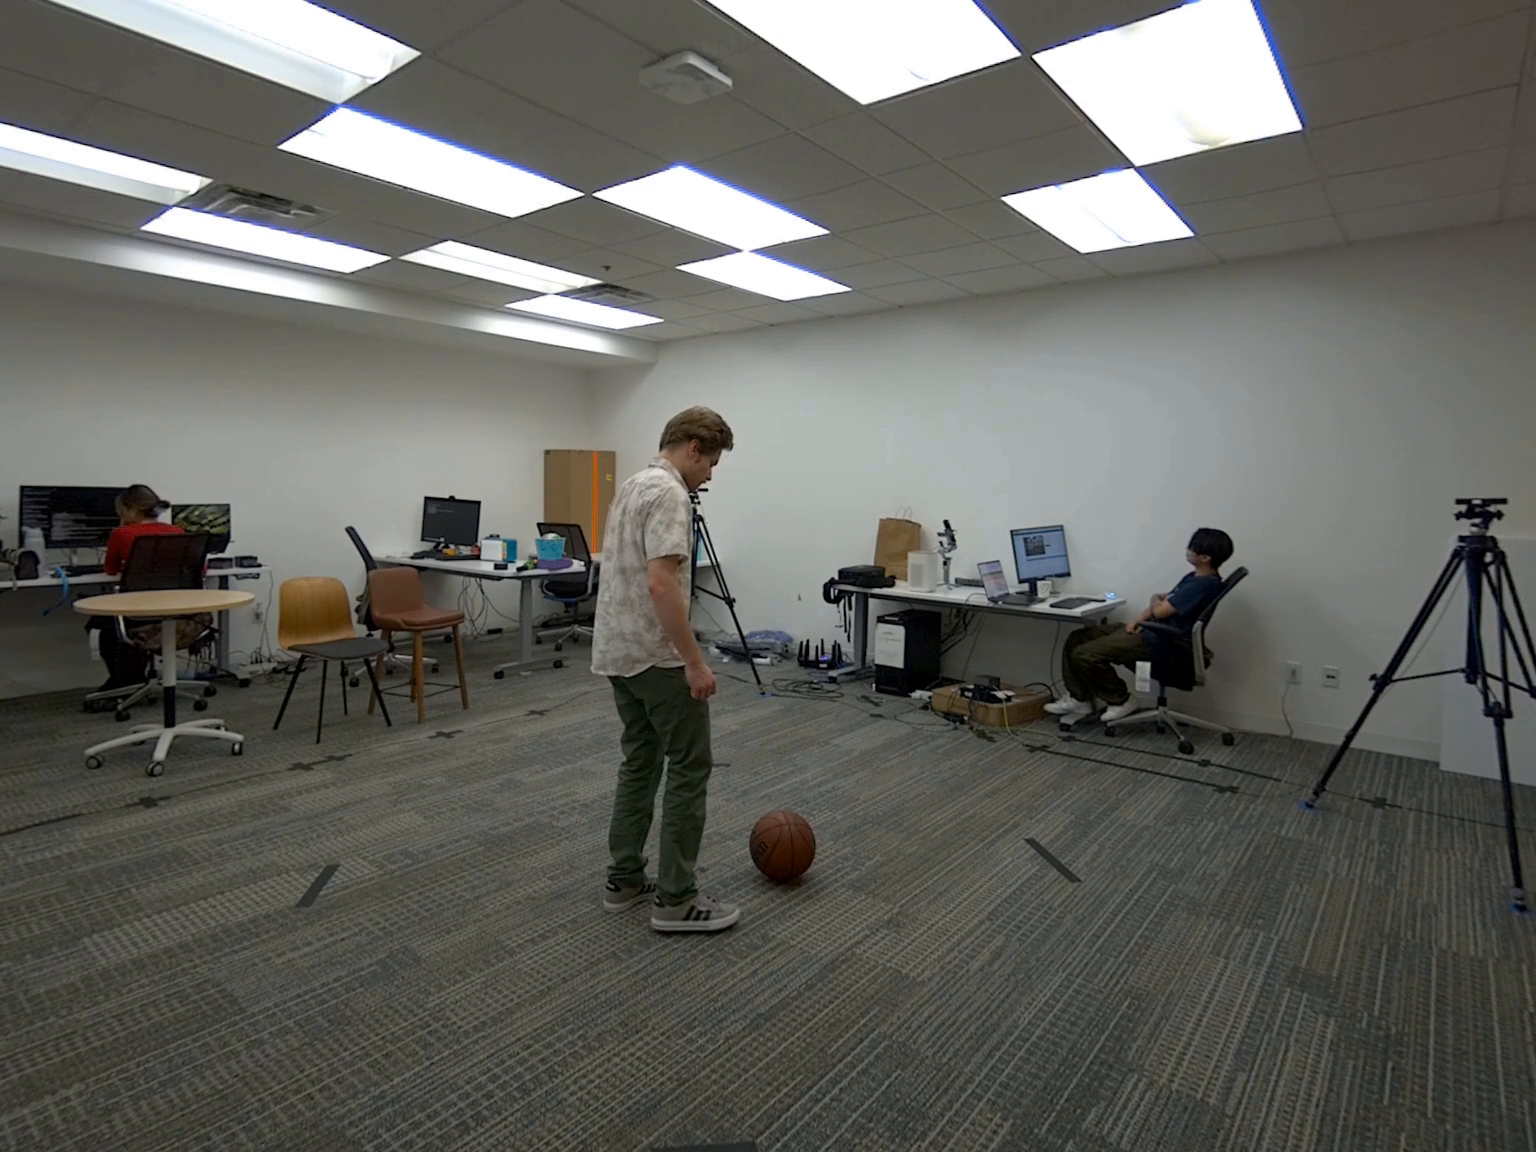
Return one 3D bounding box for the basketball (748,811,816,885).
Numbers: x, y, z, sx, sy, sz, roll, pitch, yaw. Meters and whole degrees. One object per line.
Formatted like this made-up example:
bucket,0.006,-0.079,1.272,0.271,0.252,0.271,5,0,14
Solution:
basketball,0.040,0.953,3.050,0.235,0.235,0.237,1,4,-2
